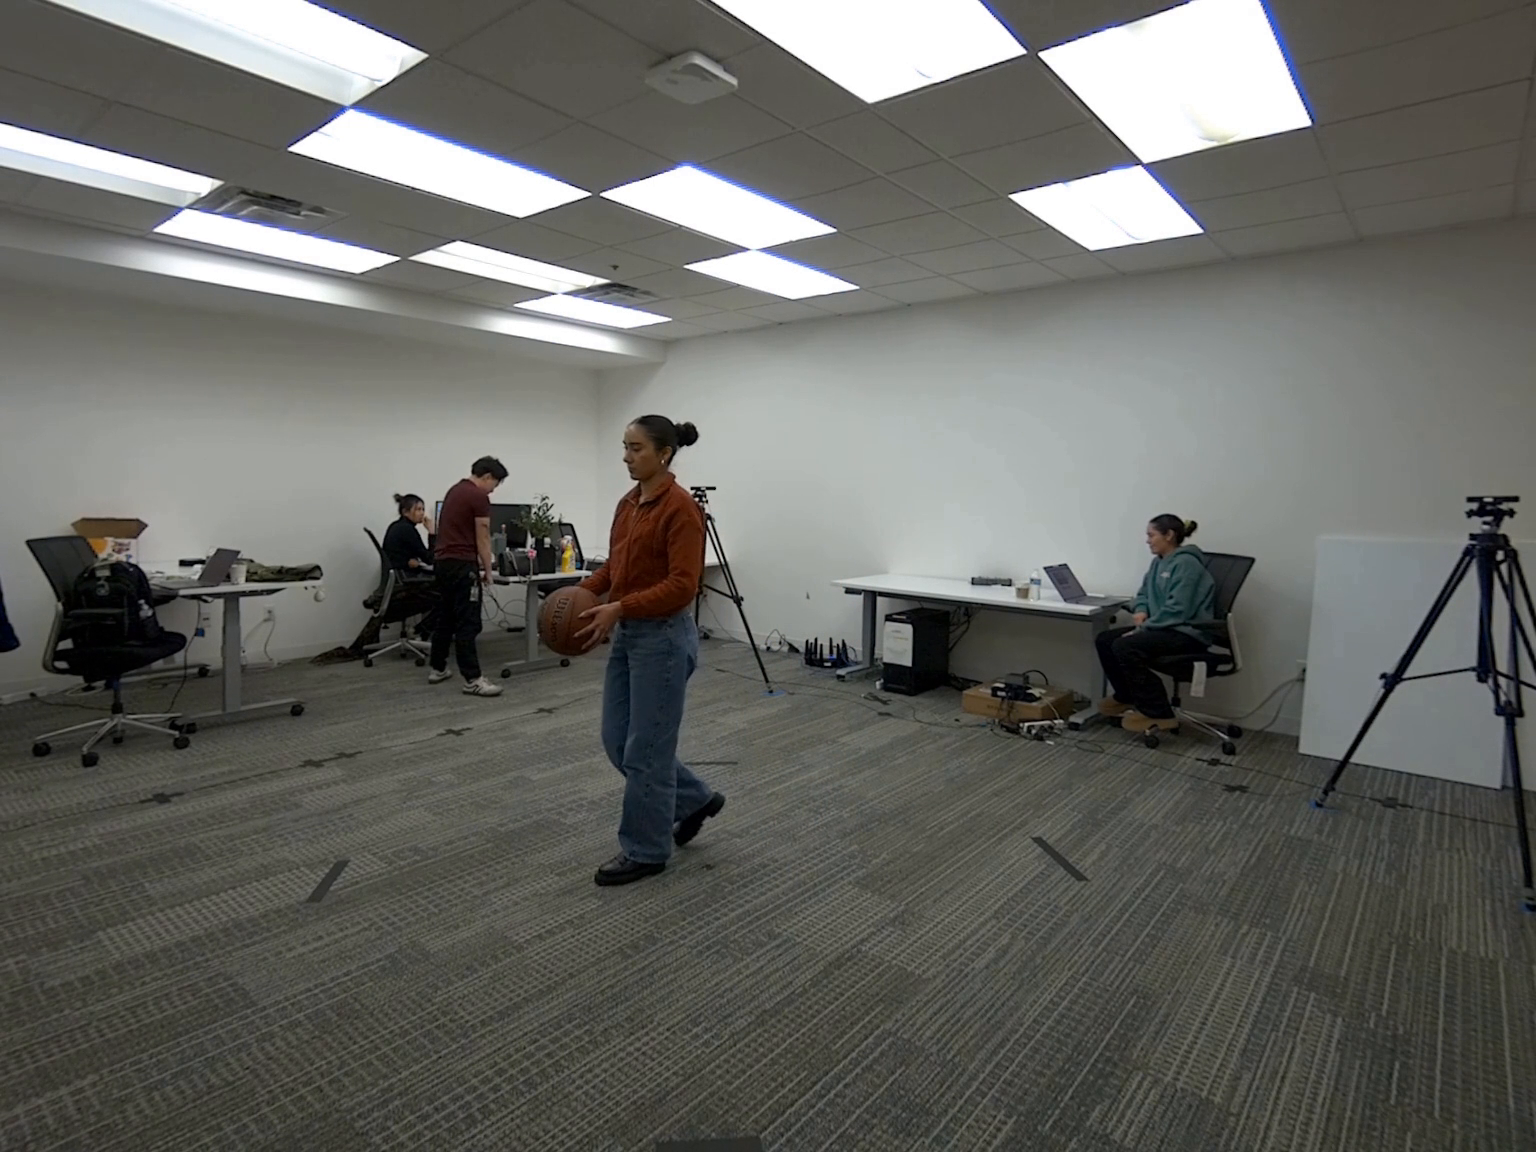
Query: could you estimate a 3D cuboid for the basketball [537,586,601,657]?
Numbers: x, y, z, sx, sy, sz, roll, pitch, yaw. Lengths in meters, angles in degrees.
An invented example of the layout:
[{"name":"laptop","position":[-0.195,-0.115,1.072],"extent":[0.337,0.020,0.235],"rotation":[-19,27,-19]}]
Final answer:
[{"name":"basketball","position":[-0.671,0.147,2.893],"extent":[0.236,0.235,0.237],"rotation":[1,4,-2]}]
